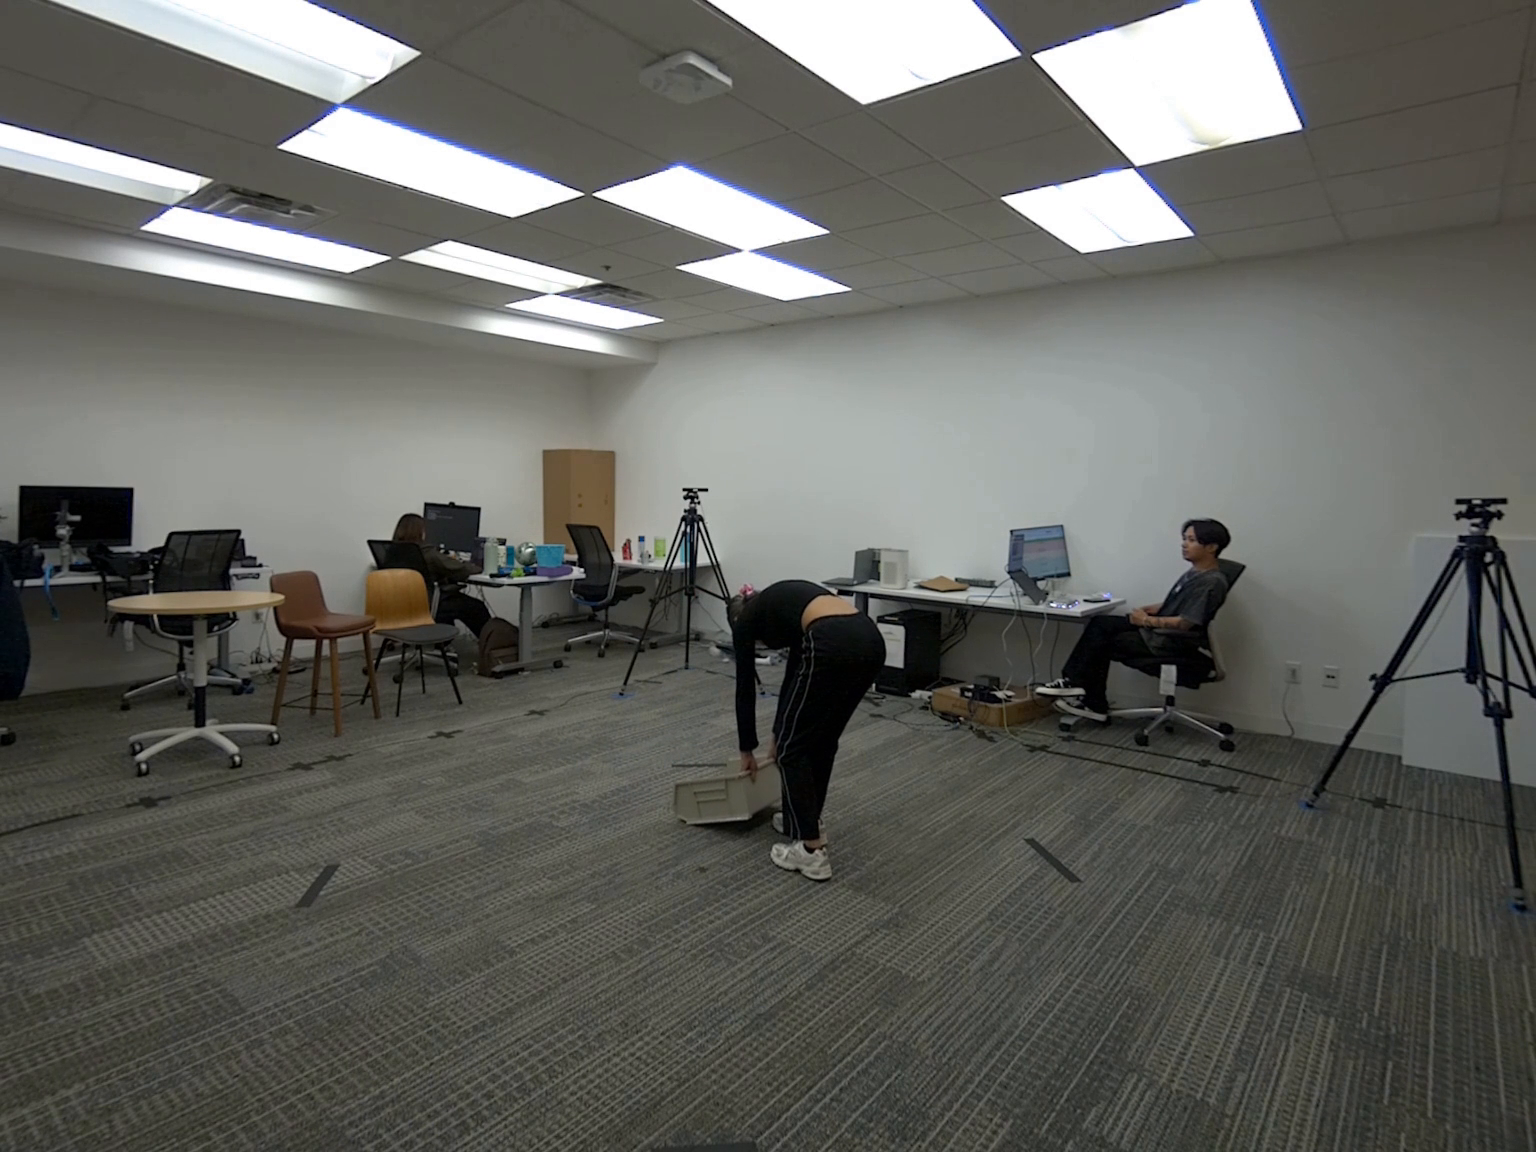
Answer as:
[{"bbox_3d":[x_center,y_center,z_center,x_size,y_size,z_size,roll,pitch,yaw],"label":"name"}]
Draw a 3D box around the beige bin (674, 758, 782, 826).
[{"bbox_3d":[-0.158,0.898,3.633,0.385,0.190,0.411,-13,-5,31],"label":"beige bin"}]
